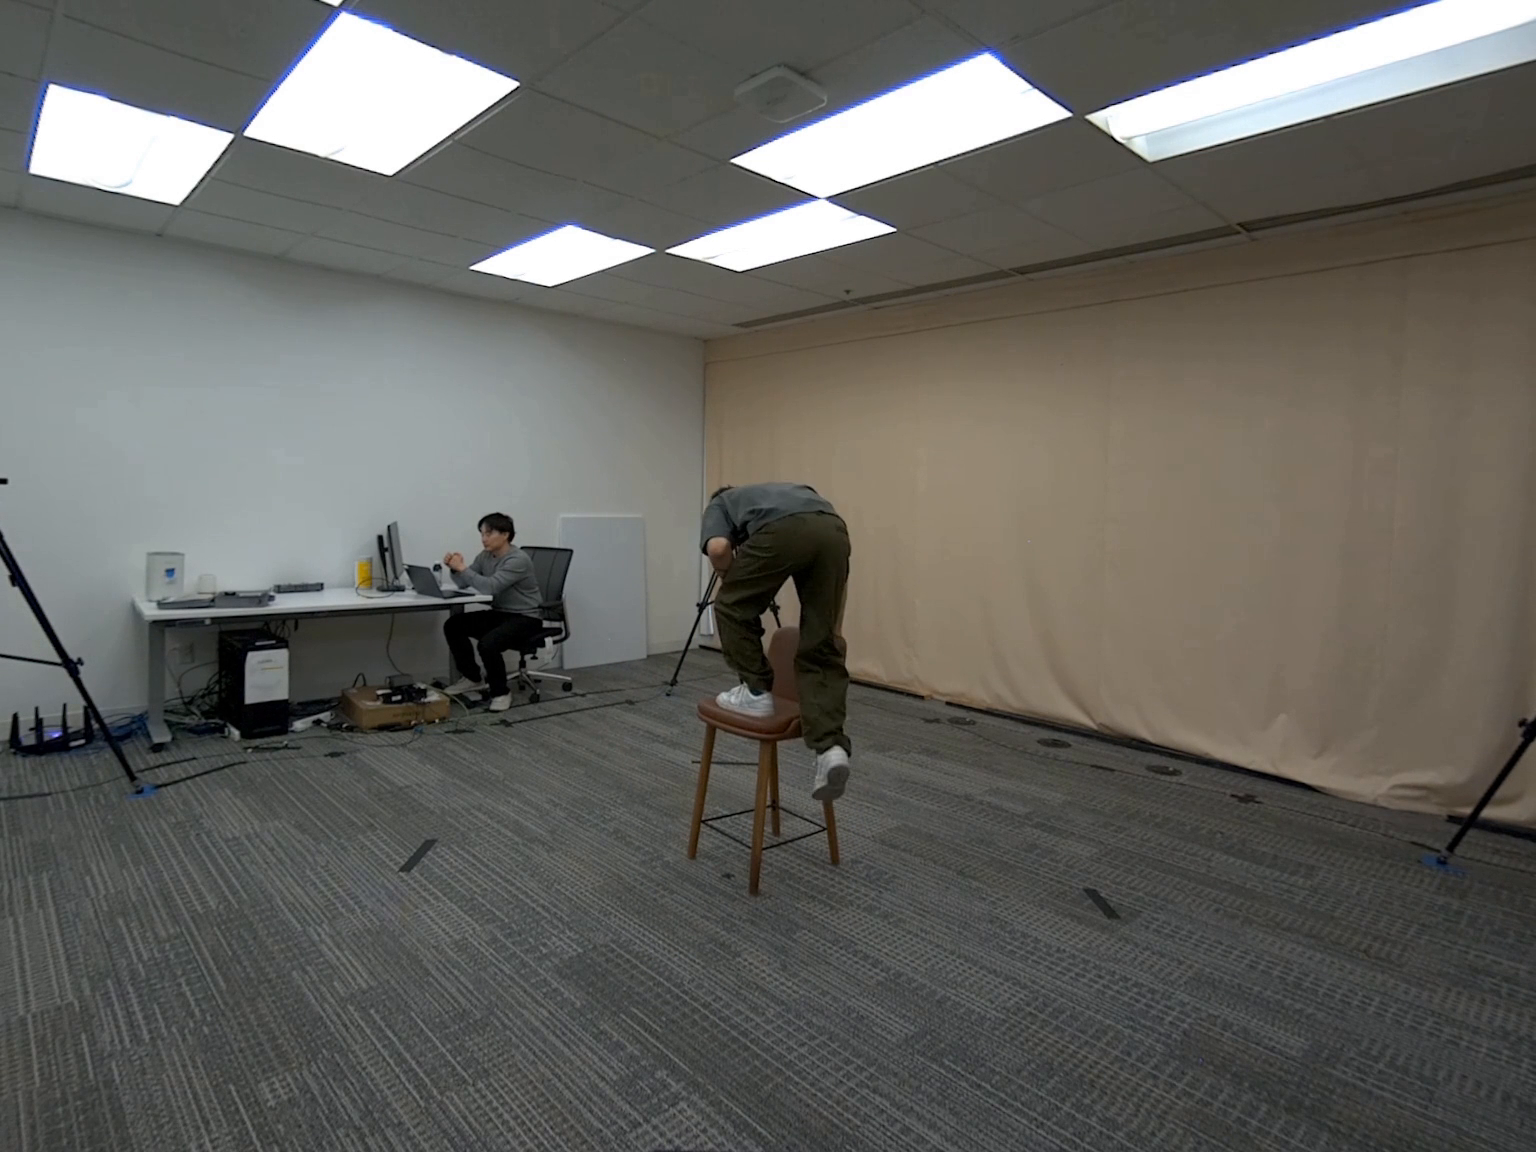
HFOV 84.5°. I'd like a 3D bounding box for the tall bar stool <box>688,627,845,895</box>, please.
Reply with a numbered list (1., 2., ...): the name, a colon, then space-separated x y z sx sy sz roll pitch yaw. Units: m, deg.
1. tall bar stool: -0.002 0.662 3.223 0.456 0.889 0.468 1 2 -39
